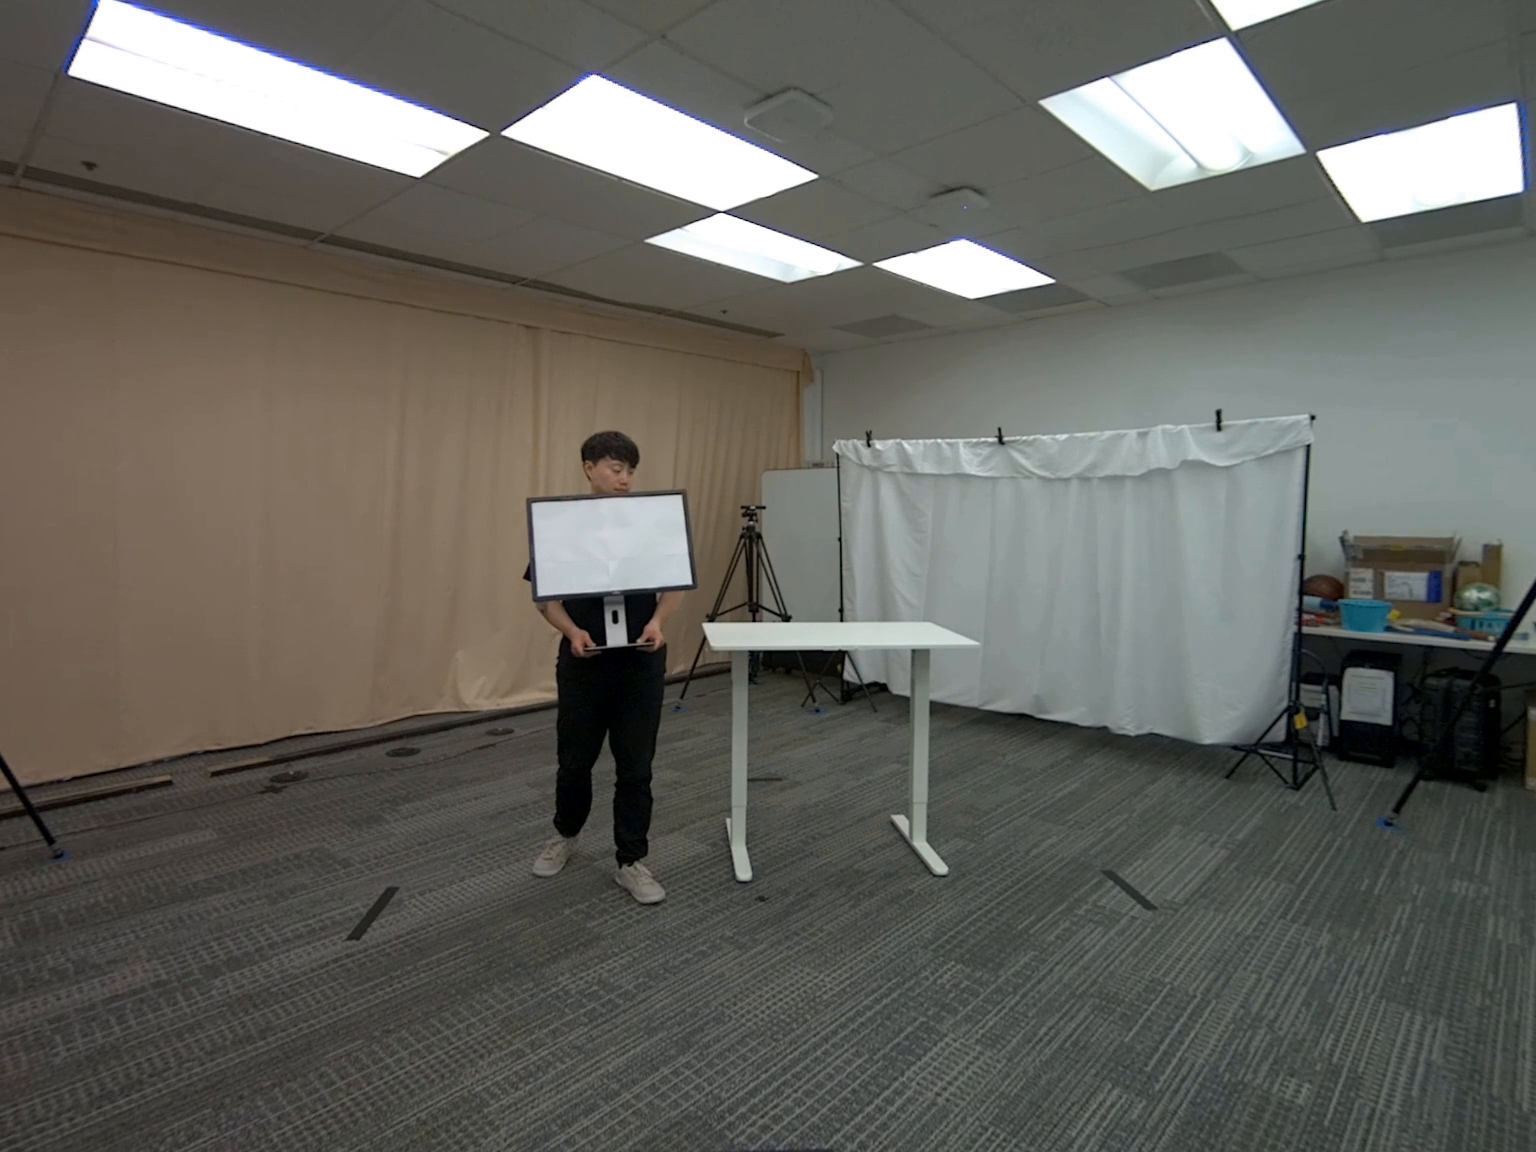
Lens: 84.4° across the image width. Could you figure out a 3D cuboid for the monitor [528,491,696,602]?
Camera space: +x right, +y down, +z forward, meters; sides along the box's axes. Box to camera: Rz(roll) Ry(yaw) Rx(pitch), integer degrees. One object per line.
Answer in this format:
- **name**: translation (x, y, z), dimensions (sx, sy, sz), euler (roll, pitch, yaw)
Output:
- **monitor**: translation (-0.531, -0.018, 2.919), dimensions (0.531, 0.524, 0.189), euler (-4, -4, -14)
